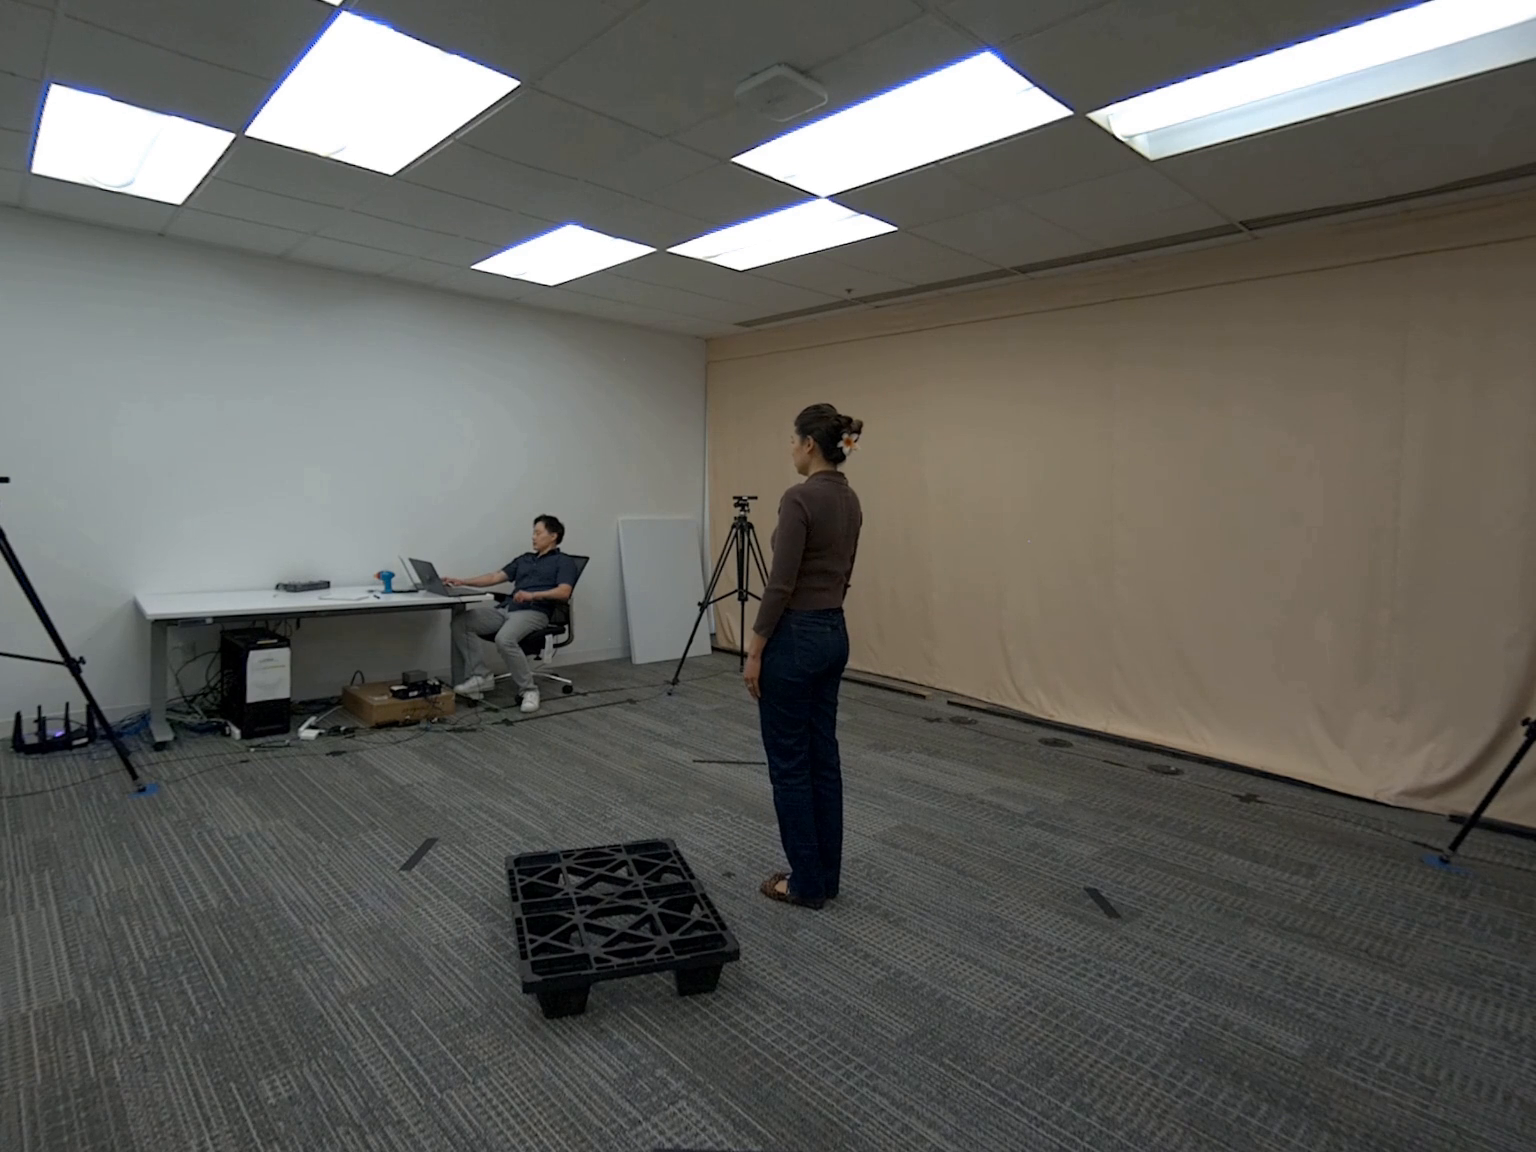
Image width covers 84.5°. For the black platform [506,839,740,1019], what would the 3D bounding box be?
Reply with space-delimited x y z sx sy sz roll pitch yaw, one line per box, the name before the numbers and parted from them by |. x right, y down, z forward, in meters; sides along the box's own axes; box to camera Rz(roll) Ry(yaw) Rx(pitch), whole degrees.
black platform | -0.500 1.071 2.629 0.596 0.143 0.820 -2 6 -20
